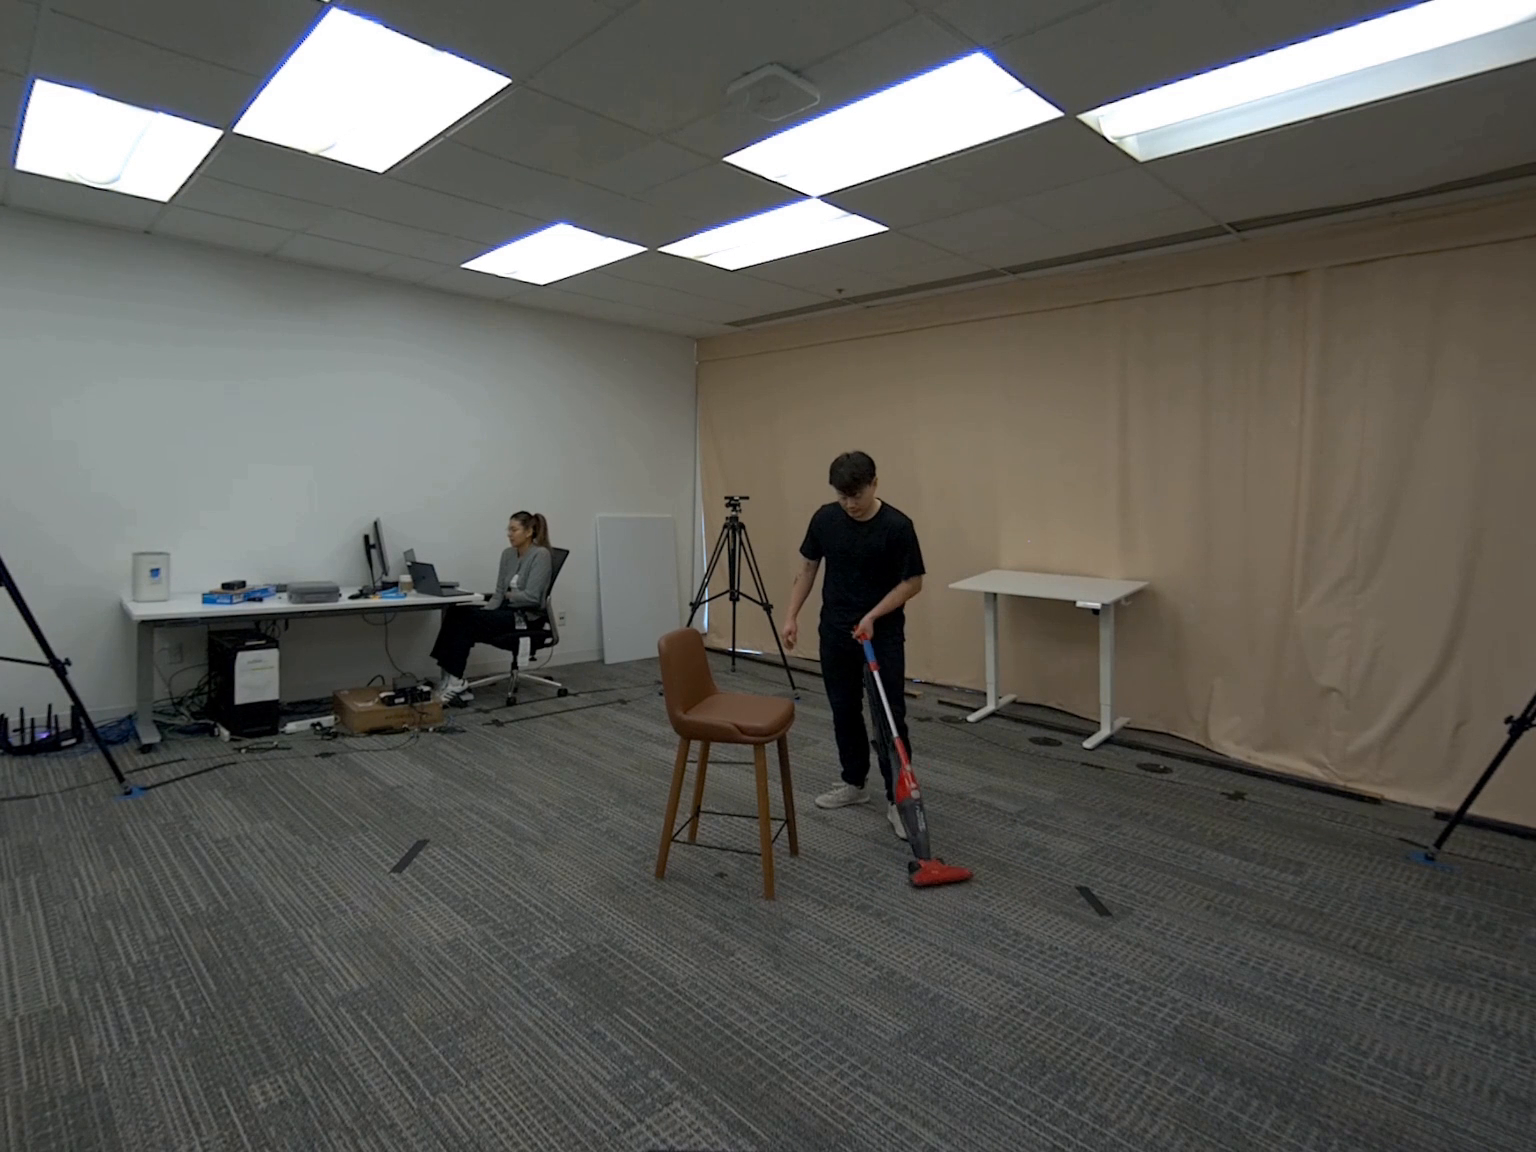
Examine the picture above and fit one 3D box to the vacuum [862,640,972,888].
[{"bbox_3d":[0.493,0.676,3.415,0.248,1.076,0.143,2,-37,-23],"label":"vacuum"}]
